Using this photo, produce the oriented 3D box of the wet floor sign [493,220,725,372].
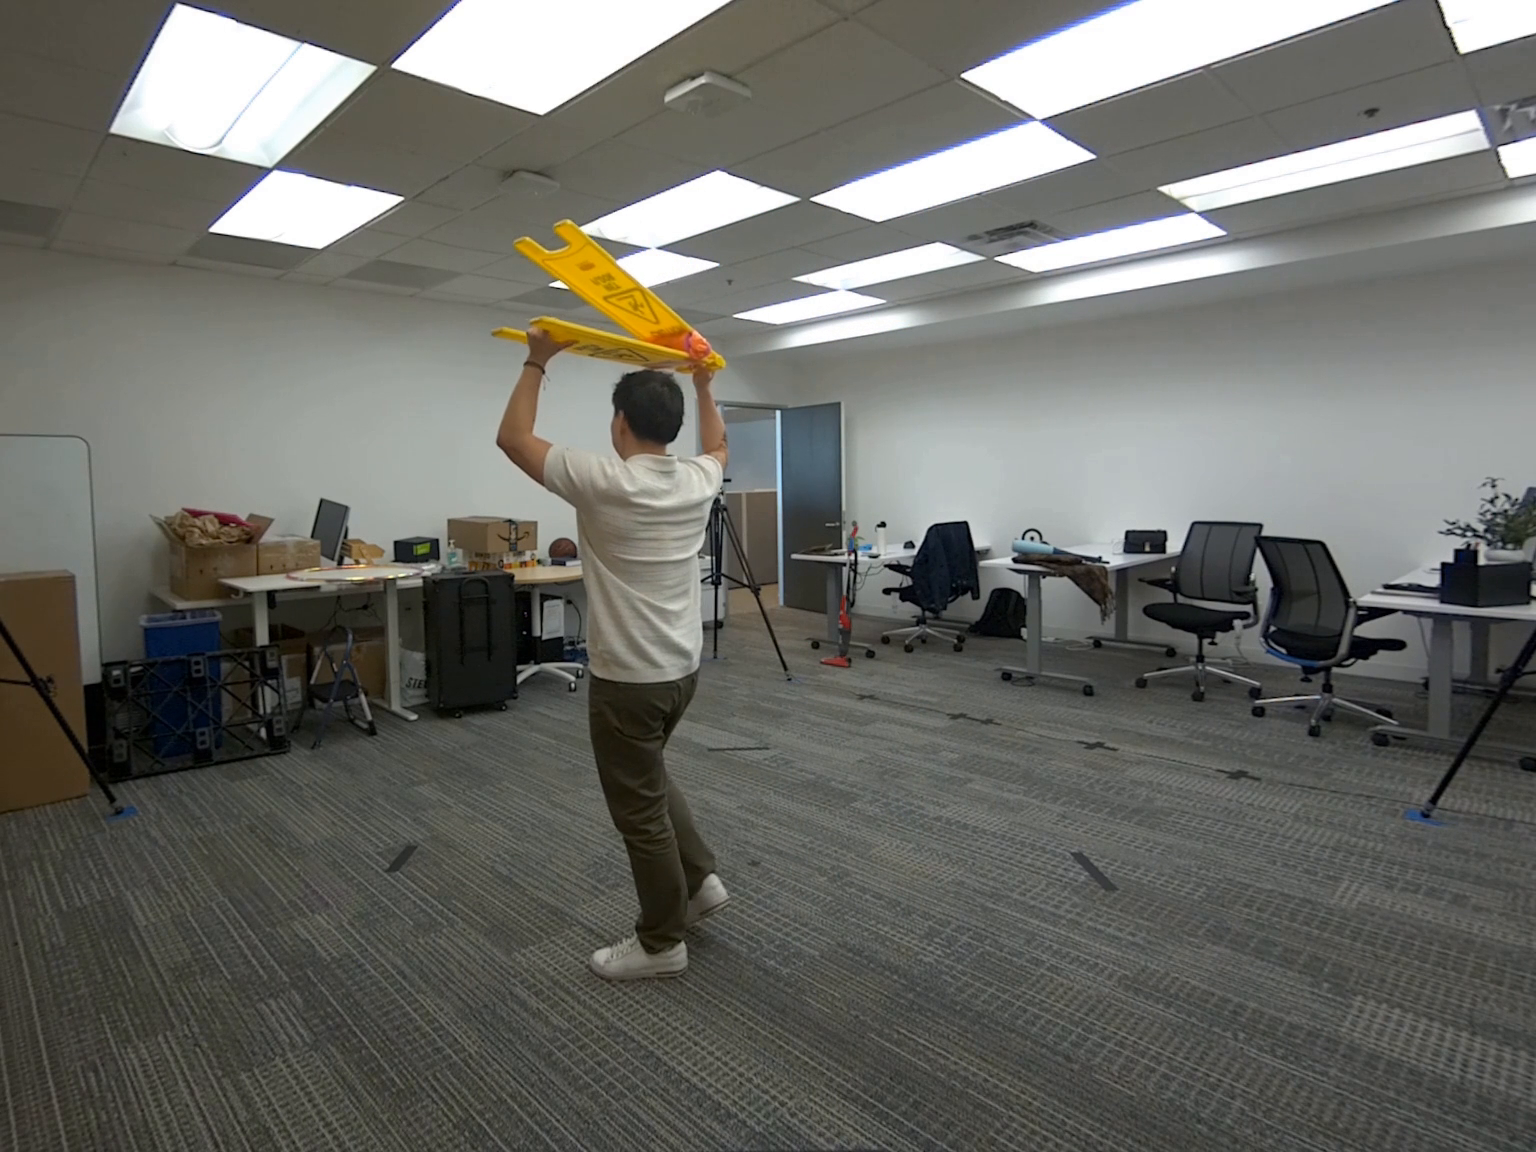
[{"bbox_3d":[-0.399,-0.704,2.437,0.291,0.291,0.623,5,-9,46],"label":"wet floor sign"}]
